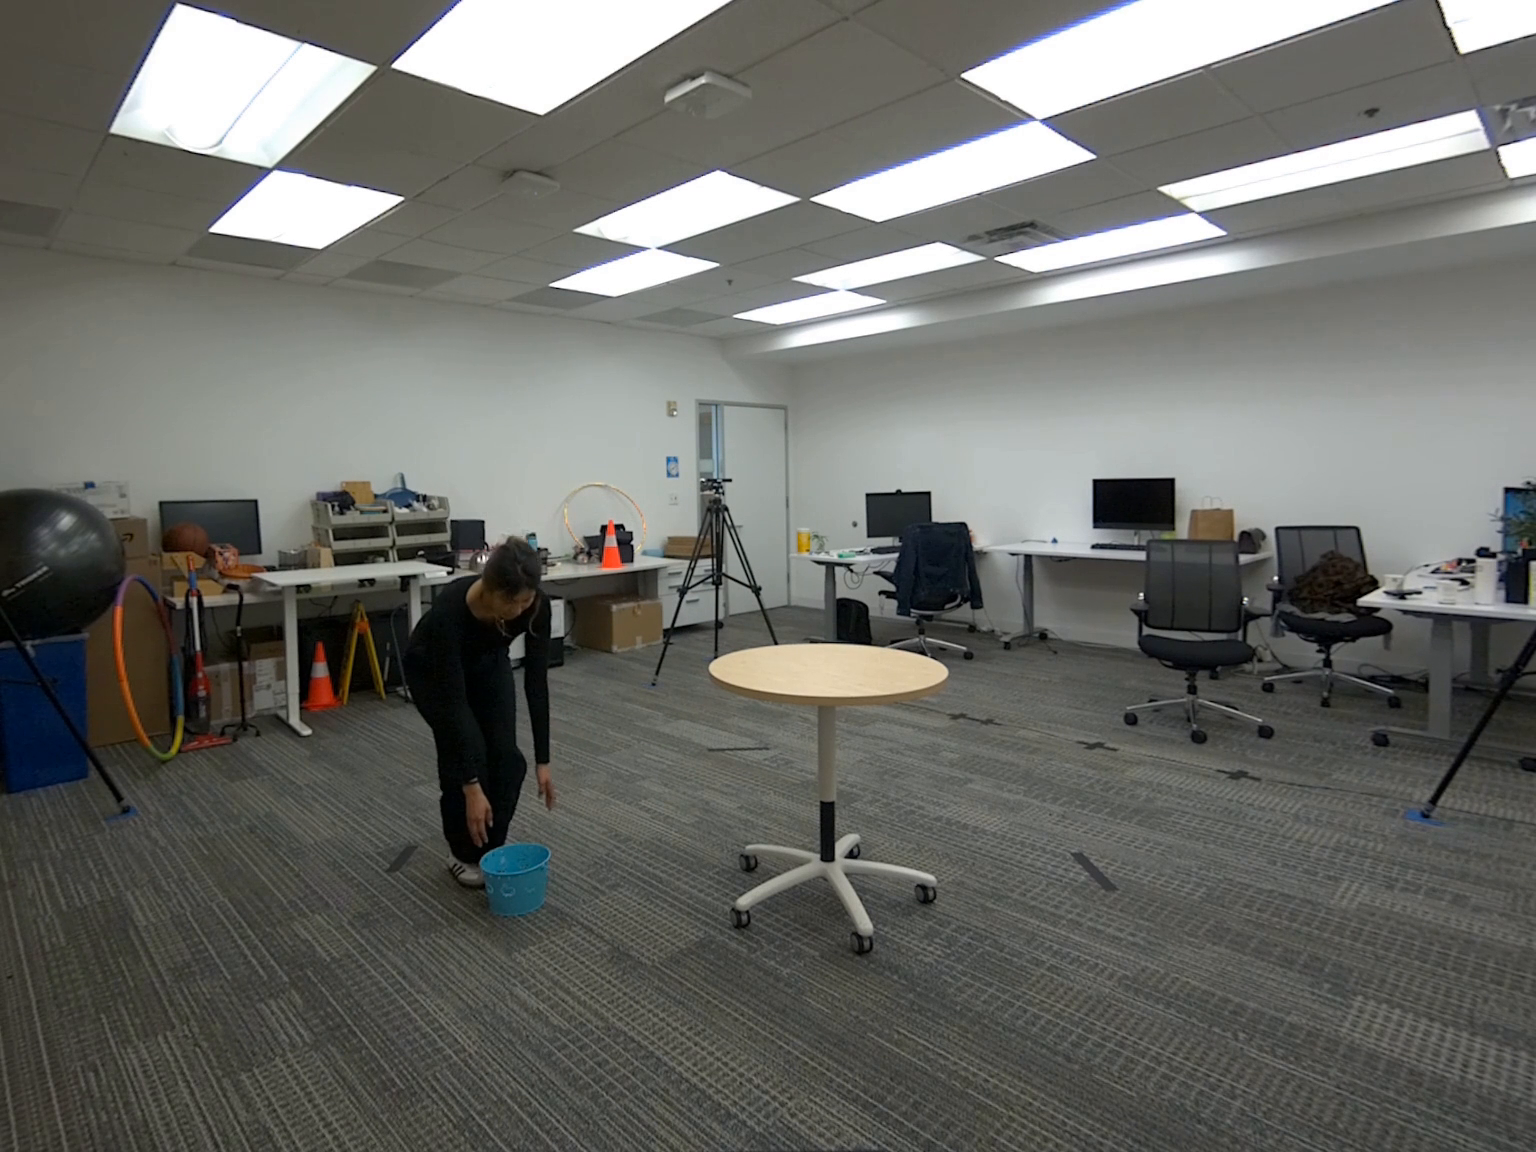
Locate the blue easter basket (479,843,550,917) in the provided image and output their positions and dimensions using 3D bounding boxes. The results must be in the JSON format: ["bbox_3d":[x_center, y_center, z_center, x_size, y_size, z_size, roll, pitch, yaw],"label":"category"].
[{"bbox_3d":[-0.837,1.015,2.854,0.243,0.155,0.245,-3,7,-1],"label":"blue easter basket"}]
